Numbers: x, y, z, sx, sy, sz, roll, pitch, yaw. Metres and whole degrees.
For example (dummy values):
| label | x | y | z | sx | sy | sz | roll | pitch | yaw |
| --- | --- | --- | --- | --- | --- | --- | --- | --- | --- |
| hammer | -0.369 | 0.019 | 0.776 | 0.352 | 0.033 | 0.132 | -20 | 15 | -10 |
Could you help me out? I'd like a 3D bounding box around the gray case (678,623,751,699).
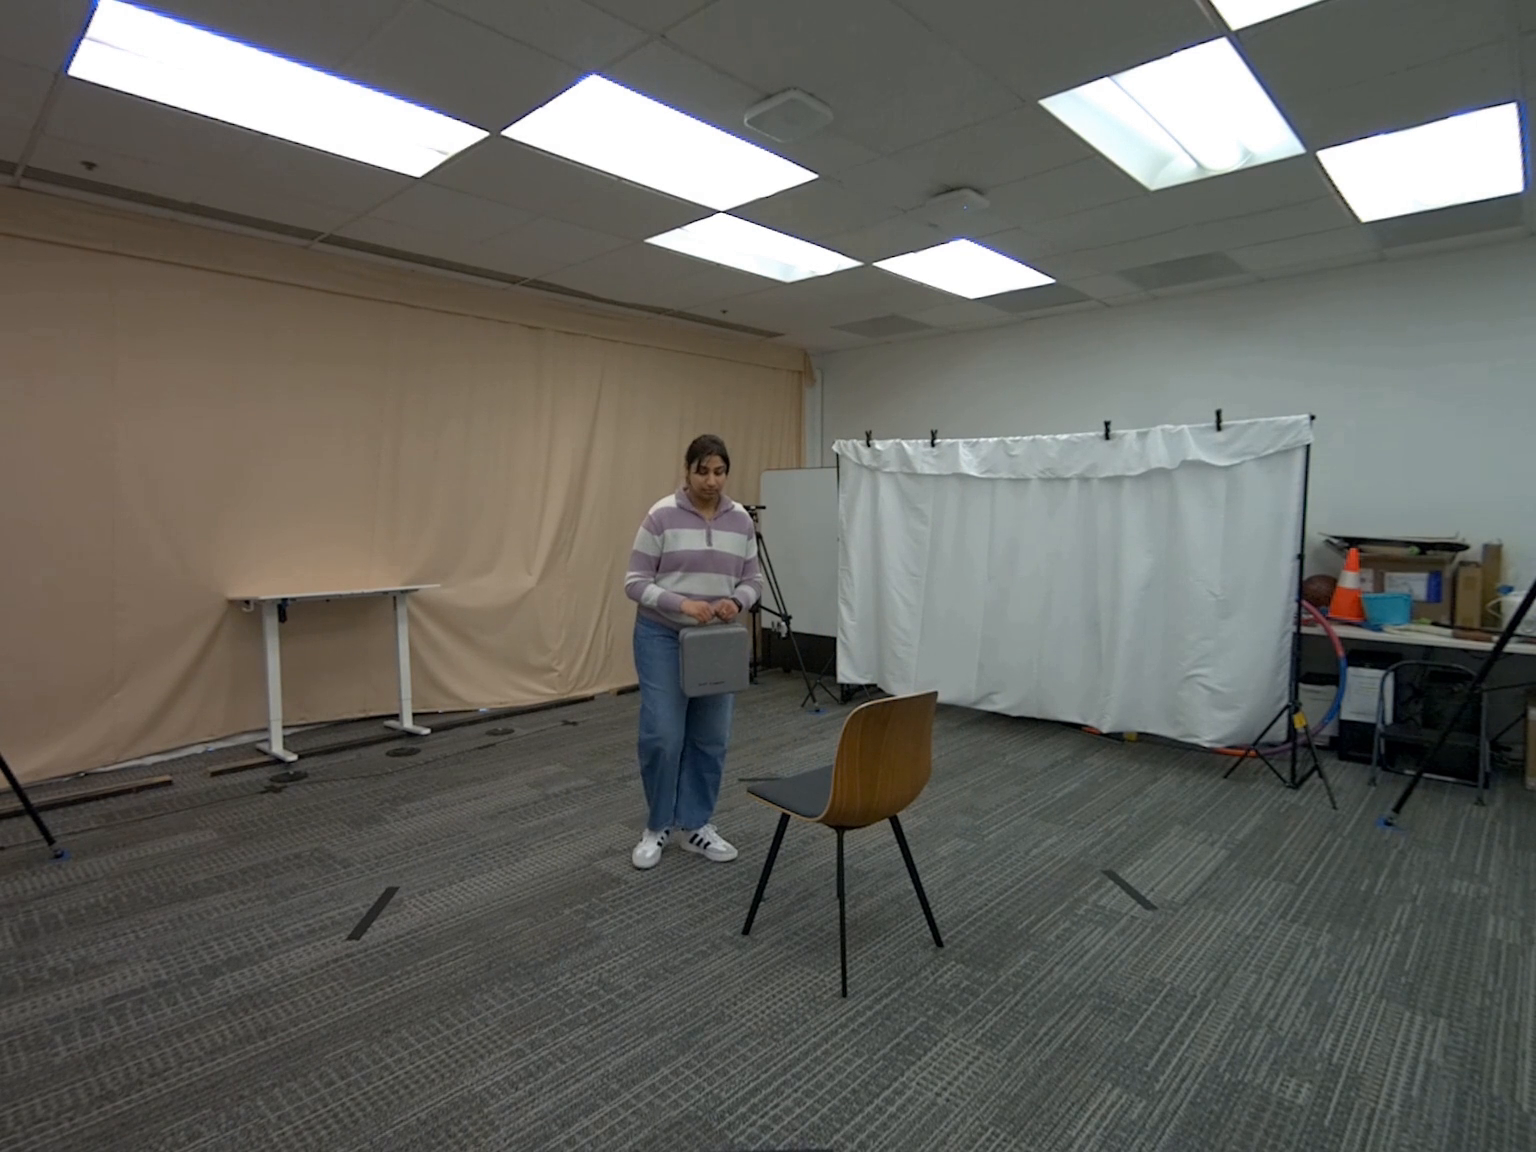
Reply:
| label | x | y | z | sx | sy | sz | roll | pitch | yaw |
| --- | --- | --- | --- | --- | --- | --- | --- | --- | --- |
| gray case | -0.206 | 0.306 | 3.124 | 0.252 | 0.259 | 0.107 | -3 | 10 | -18 |
